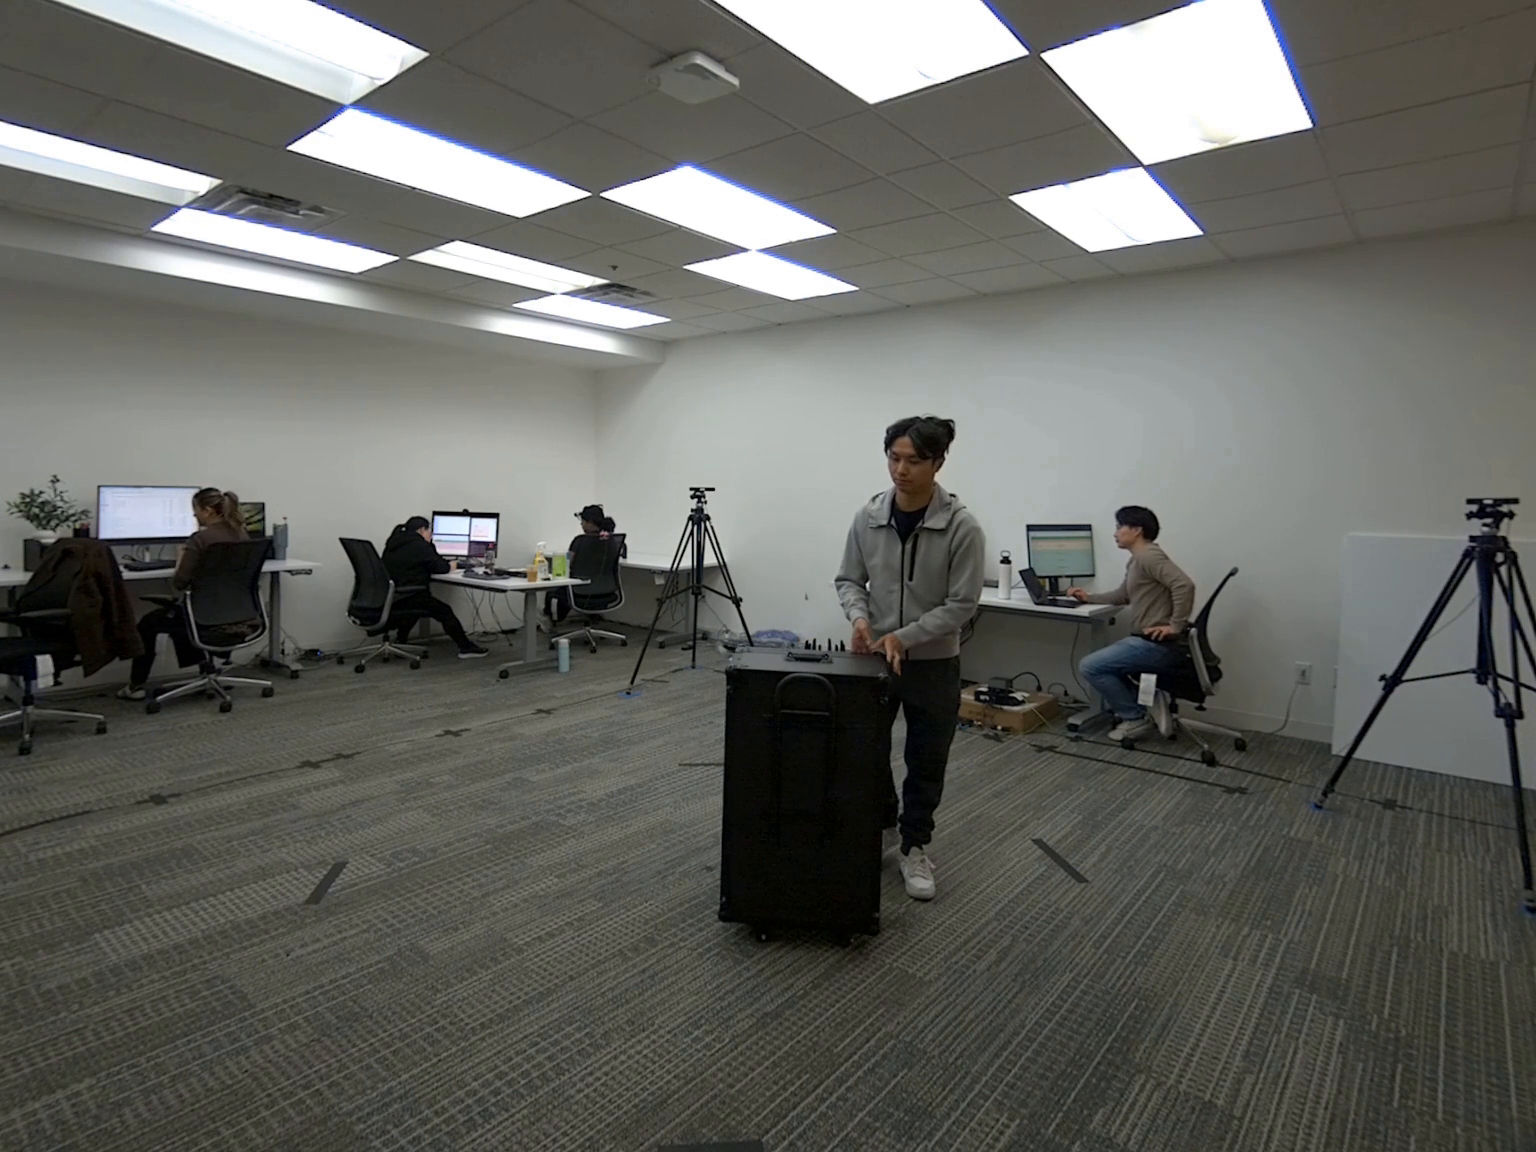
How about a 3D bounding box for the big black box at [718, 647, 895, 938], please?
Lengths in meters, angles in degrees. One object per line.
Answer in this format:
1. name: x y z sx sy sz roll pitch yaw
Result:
1. big black box: 0.109 0.690 2.696 0.525 0.858 0.395 2 4 6
